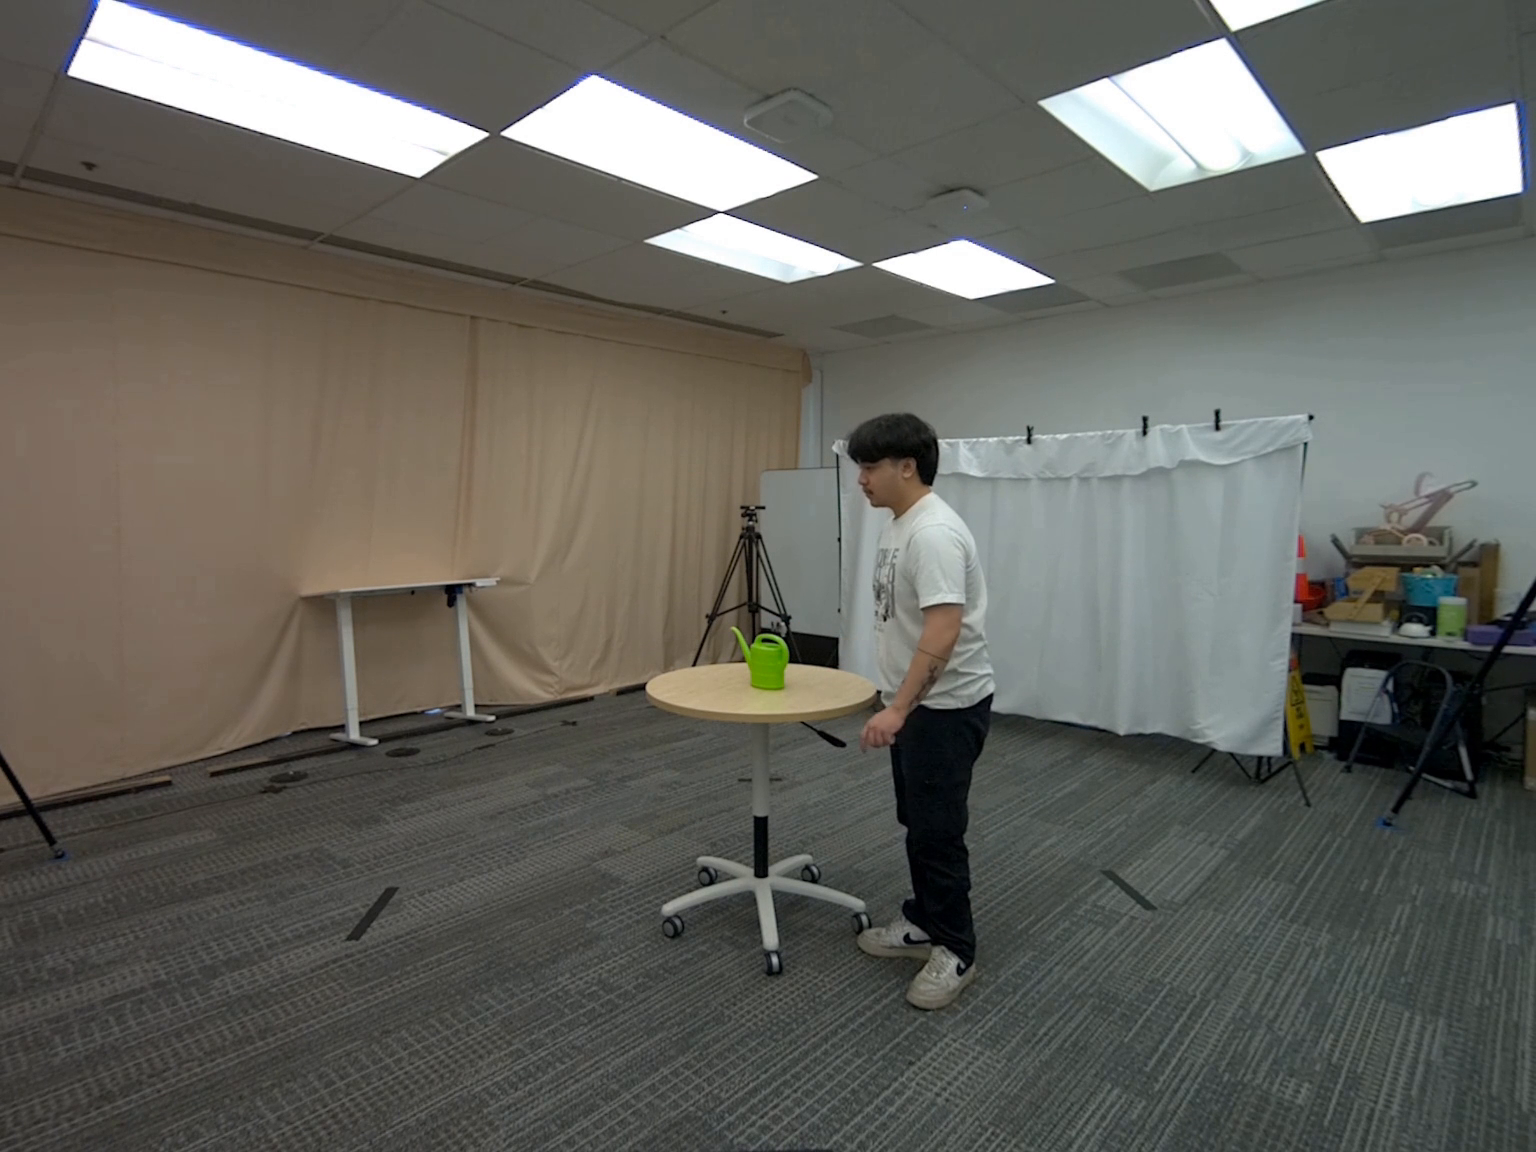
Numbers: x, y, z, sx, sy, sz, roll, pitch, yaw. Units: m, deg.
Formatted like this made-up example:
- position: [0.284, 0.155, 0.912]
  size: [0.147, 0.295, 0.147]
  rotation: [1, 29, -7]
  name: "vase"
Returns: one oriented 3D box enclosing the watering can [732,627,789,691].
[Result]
- position: [-0.017, 0.278, 2.821]
  size: [0.095, 0.176, 0.287]
  rotation: [-1, 6, -31]
  name: "watering can"
